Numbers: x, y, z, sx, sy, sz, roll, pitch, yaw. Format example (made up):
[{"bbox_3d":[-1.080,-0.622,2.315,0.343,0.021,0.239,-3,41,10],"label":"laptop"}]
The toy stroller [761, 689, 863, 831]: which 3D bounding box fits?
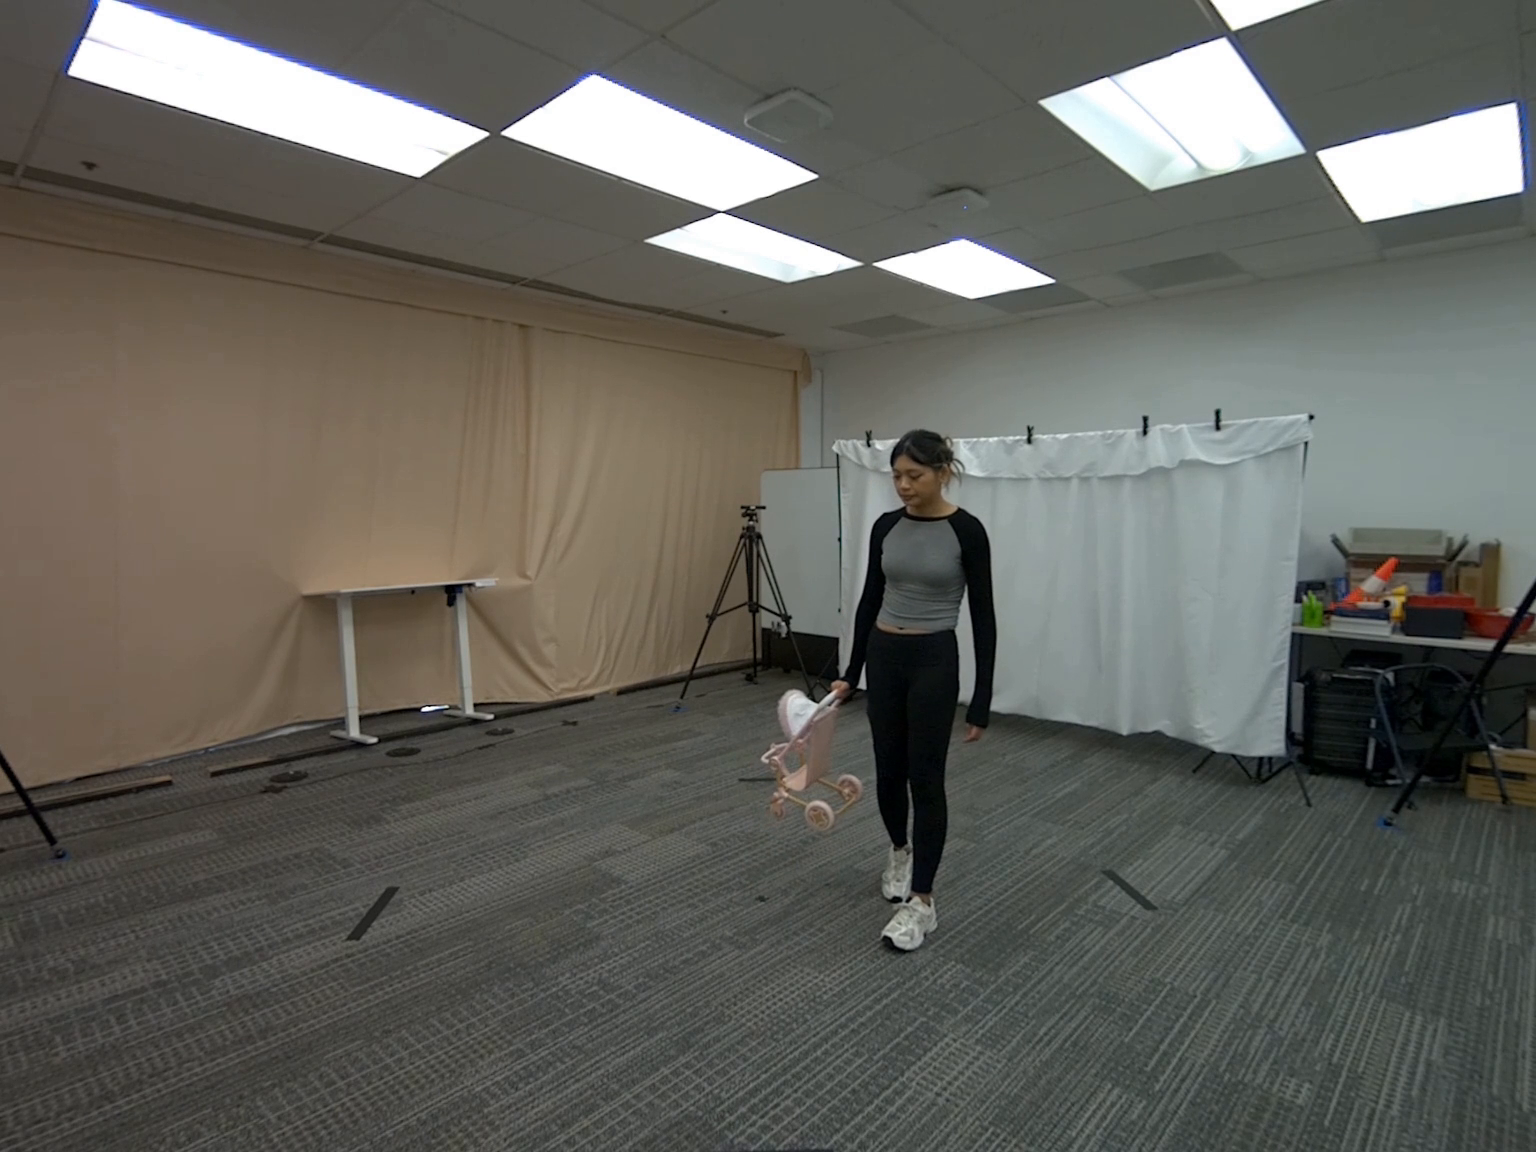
[{"bbox_3d":[0.140,0.652,3.045,0.352,0.532,0.274,1,9,38],"label":"toy stroller"}]
